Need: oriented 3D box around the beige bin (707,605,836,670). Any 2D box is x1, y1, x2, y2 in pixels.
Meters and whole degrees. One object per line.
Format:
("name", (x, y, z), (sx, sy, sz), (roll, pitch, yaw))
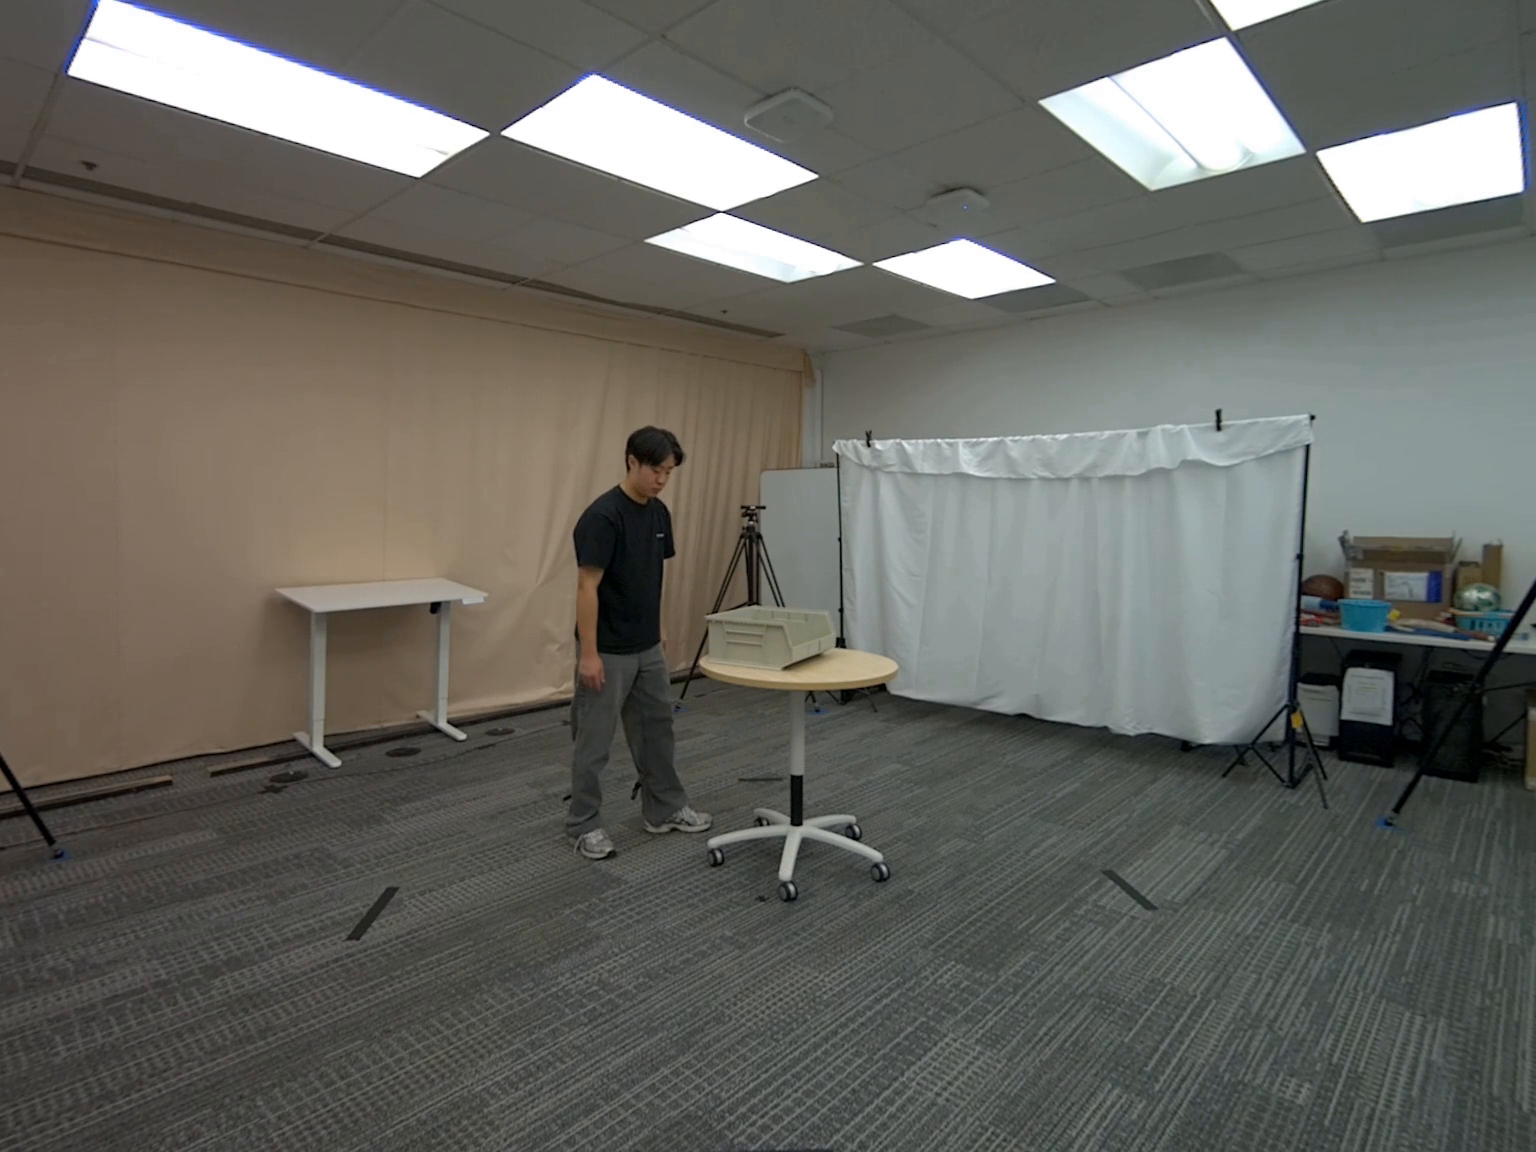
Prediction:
("beige bin", (0.020, 0.239, 3.334), (0.388, 0.188, 0.412), (1, 6, 29))
